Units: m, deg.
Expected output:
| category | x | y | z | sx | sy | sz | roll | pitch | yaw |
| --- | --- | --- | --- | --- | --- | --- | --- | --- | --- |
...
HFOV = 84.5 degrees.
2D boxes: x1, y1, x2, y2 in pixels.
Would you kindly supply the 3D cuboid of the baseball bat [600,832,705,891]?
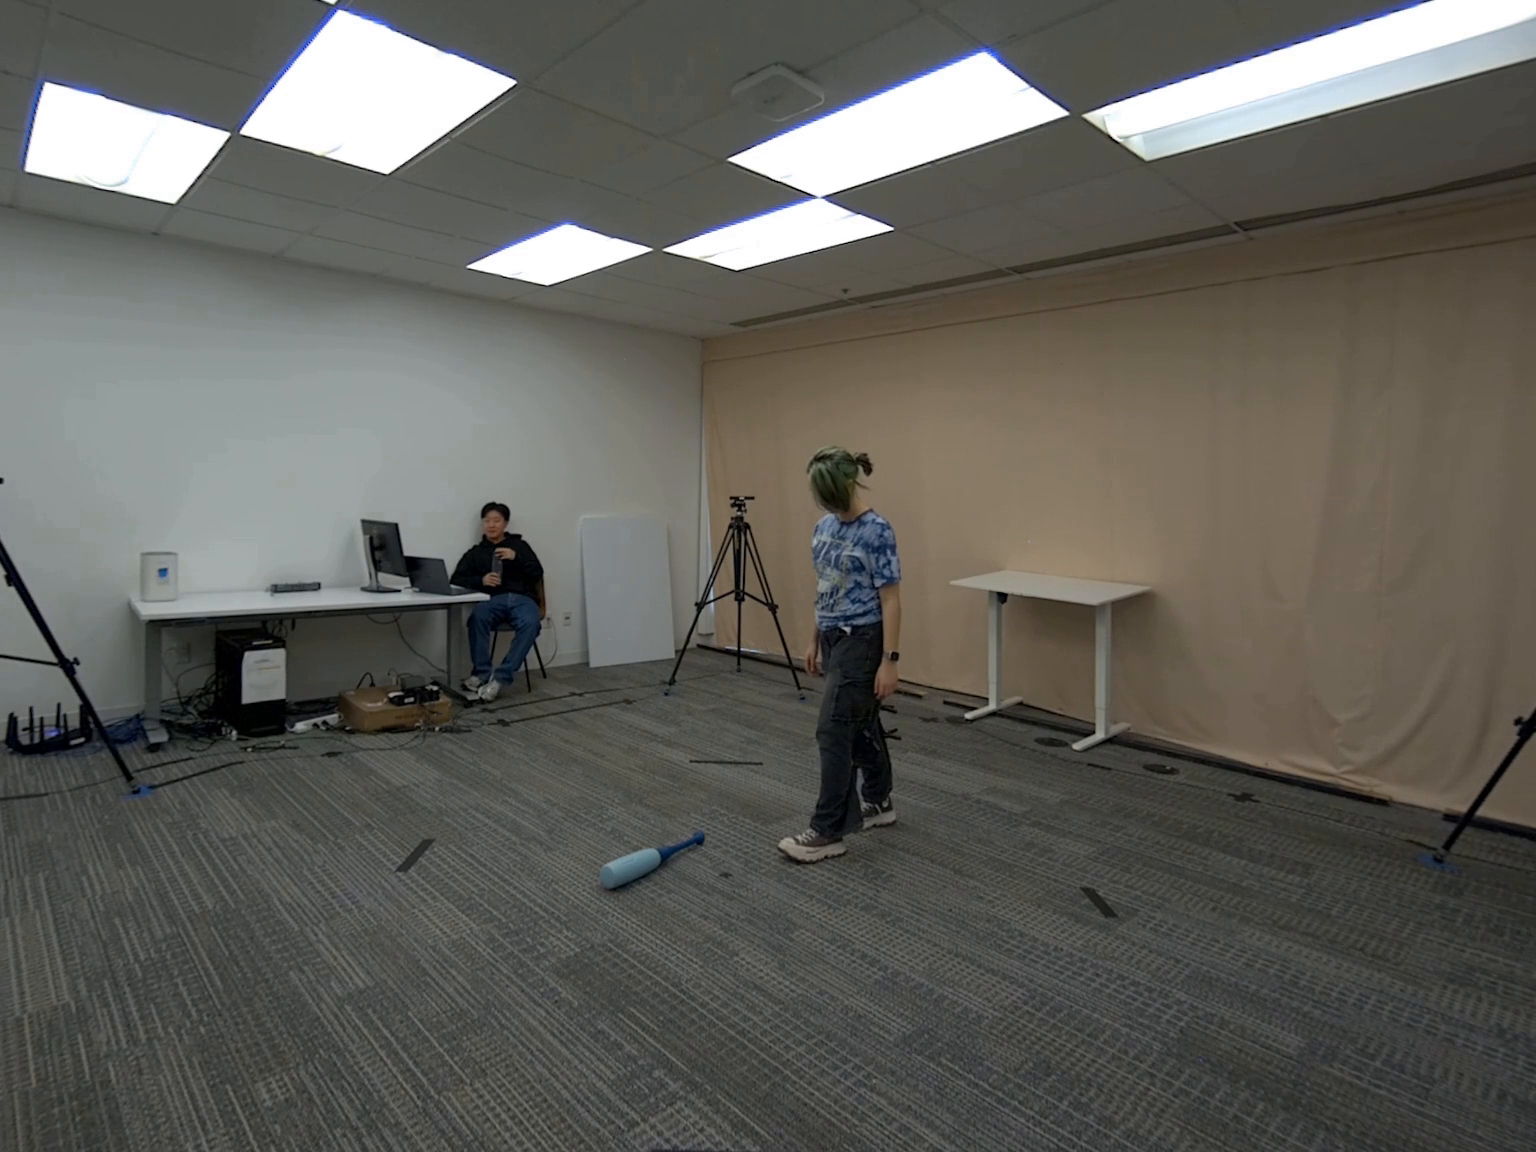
| category | x | y | z | sx | sy | sz | roll | pitch | yaw |
| --- | --- | --- | --- | --- | --- | --- | --- | --- | --- |
| baseball bat | -0.427 | 1.058 | 3.168 | 0.091 | 0.089 | 0.531 | 4 | 3 | 33 |
